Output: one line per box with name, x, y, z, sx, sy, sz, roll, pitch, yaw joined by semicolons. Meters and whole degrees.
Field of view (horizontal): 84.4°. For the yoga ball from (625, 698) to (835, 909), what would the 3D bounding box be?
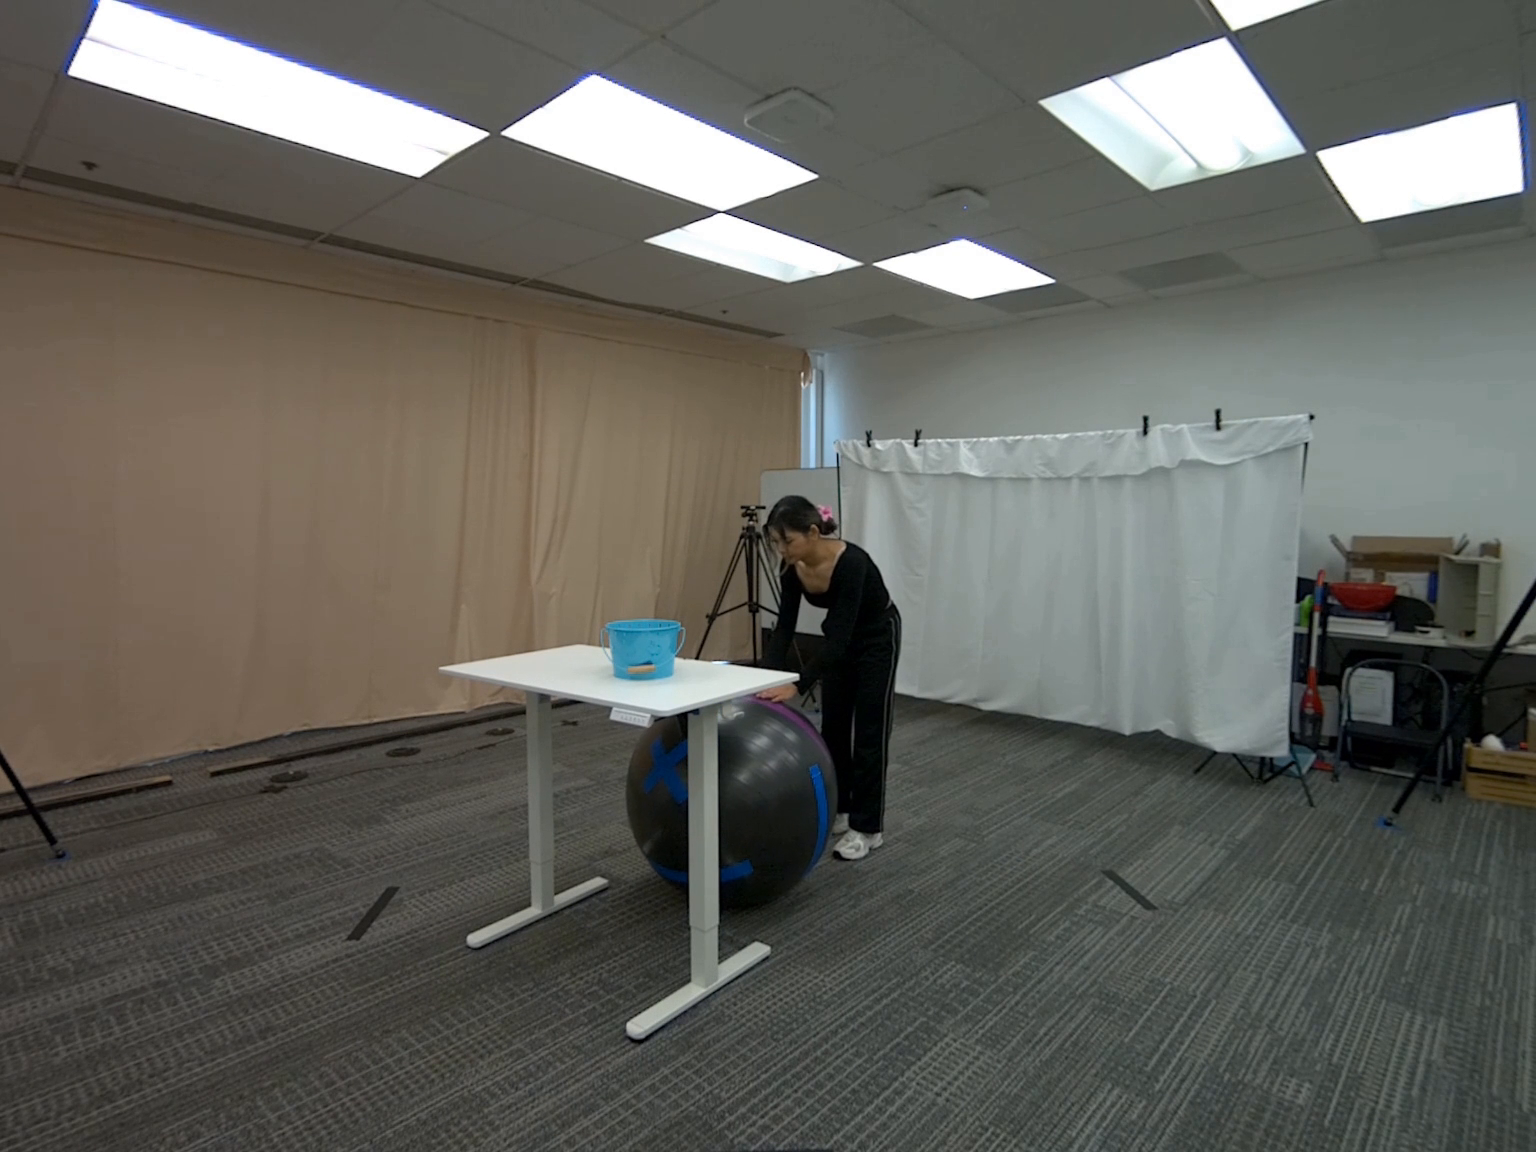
yoga ball;-0.134;0.779;3.023;0.757;0.756;0.761;0;4;-2
